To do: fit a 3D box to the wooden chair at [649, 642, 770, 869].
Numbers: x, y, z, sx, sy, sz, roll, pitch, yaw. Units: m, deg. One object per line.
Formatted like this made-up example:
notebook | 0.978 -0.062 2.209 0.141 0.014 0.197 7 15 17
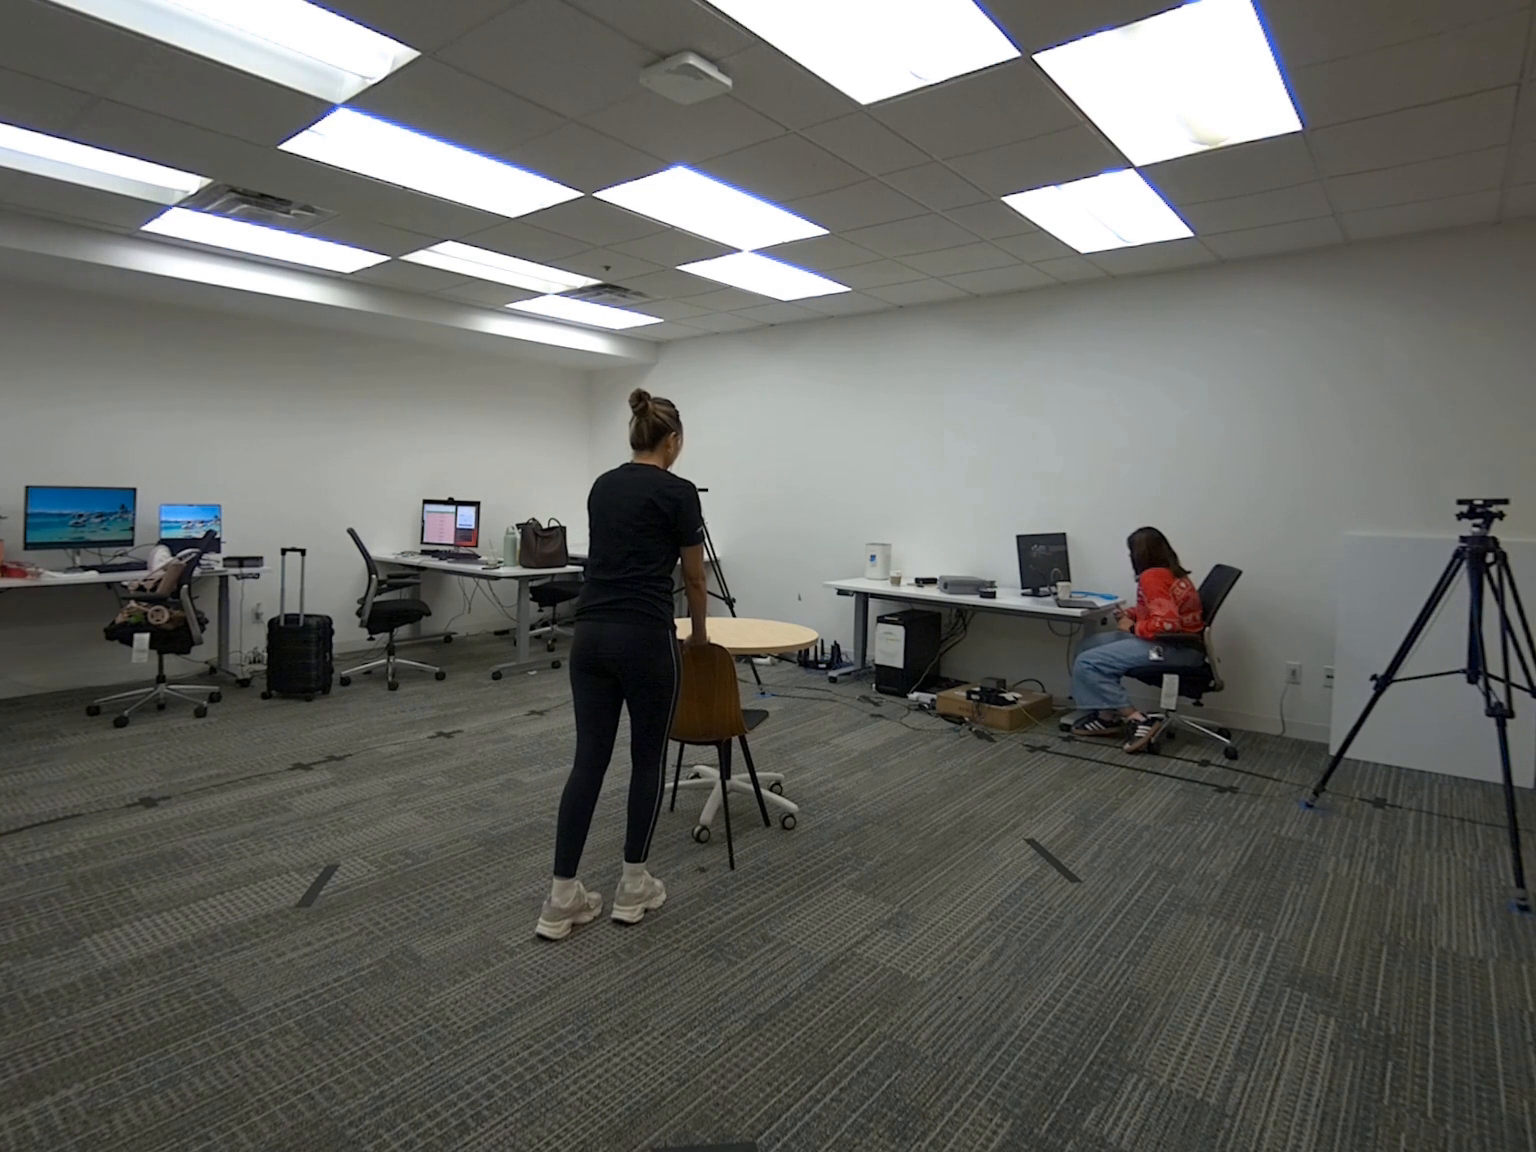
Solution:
wooden chair | -0.273 0.614 3.369 0.488 0.872 0.515 2 7 20
